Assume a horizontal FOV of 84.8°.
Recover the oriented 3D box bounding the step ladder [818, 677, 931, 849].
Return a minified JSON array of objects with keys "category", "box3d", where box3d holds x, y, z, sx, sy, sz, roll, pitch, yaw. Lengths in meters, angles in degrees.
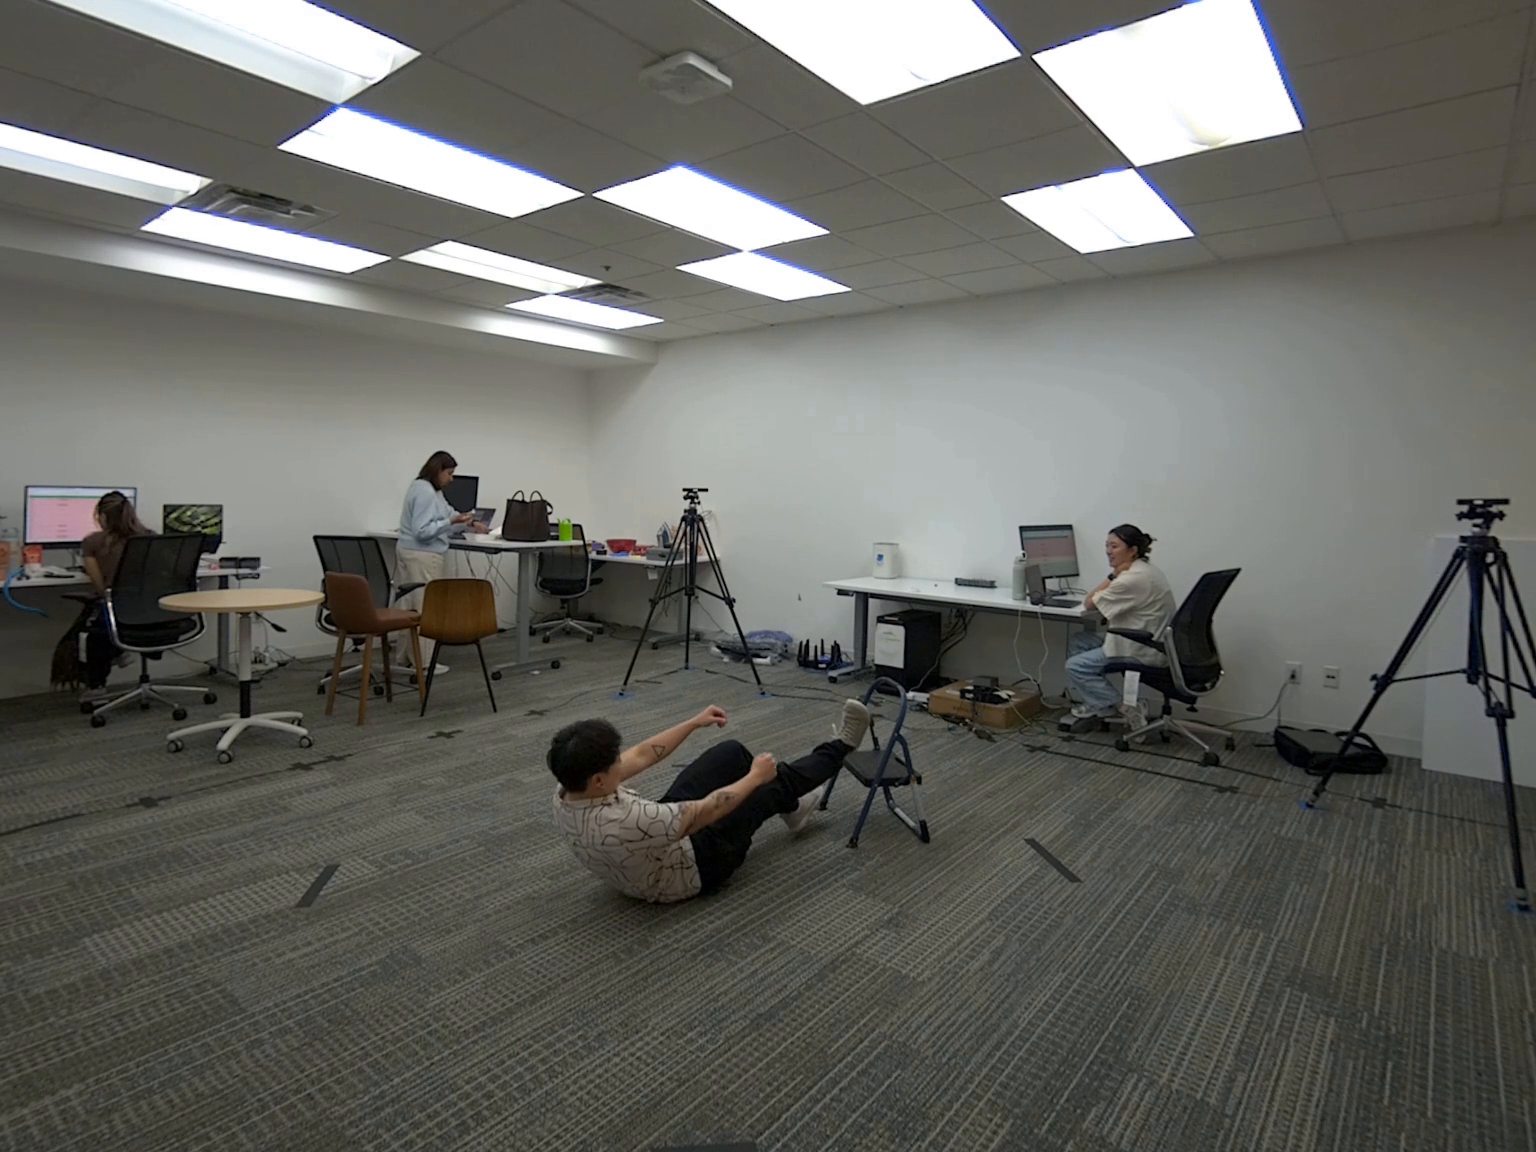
[{"category":"step ladder","box3d":[0.434,0.739,3.551,0.345,0.604,0.438,0,4,-13]}]
